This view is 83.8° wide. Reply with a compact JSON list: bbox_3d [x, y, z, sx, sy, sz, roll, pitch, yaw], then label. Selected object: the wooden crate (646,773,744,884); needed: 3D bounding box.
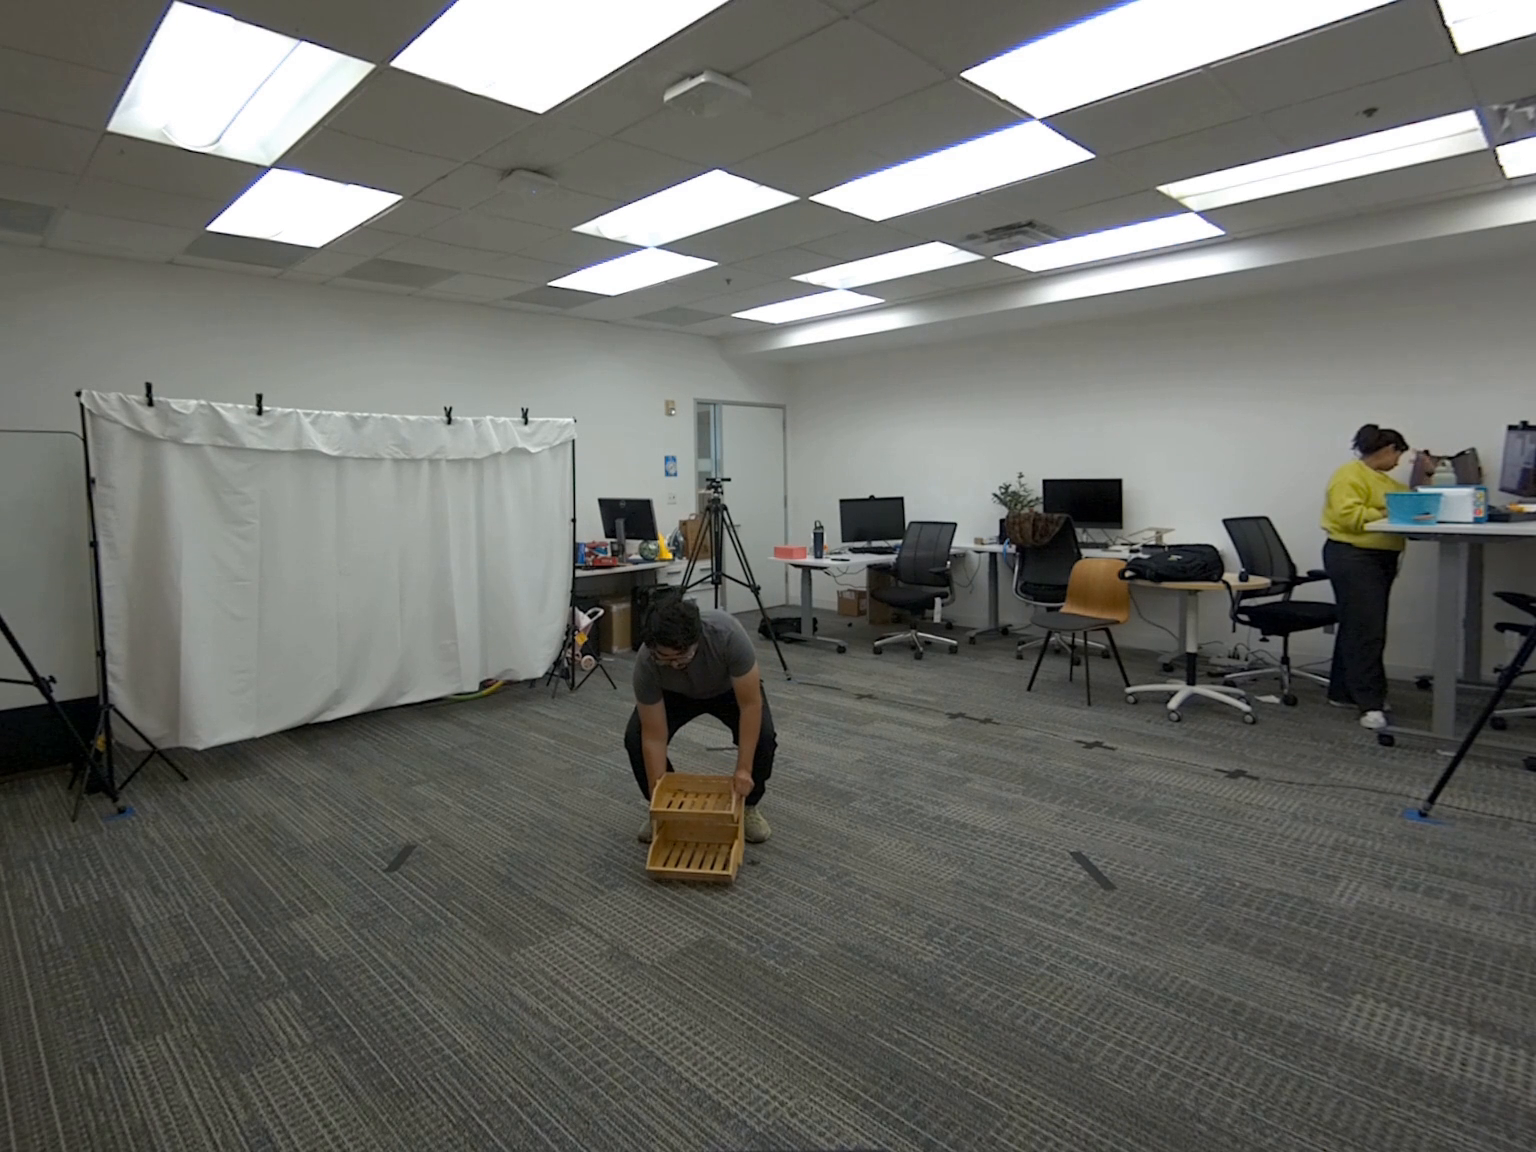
[{"bbox_3d":[-0.255,0.904,3.023,0.328,0.271,0.302,-2,11,9],"label":"wooden crate"}]
